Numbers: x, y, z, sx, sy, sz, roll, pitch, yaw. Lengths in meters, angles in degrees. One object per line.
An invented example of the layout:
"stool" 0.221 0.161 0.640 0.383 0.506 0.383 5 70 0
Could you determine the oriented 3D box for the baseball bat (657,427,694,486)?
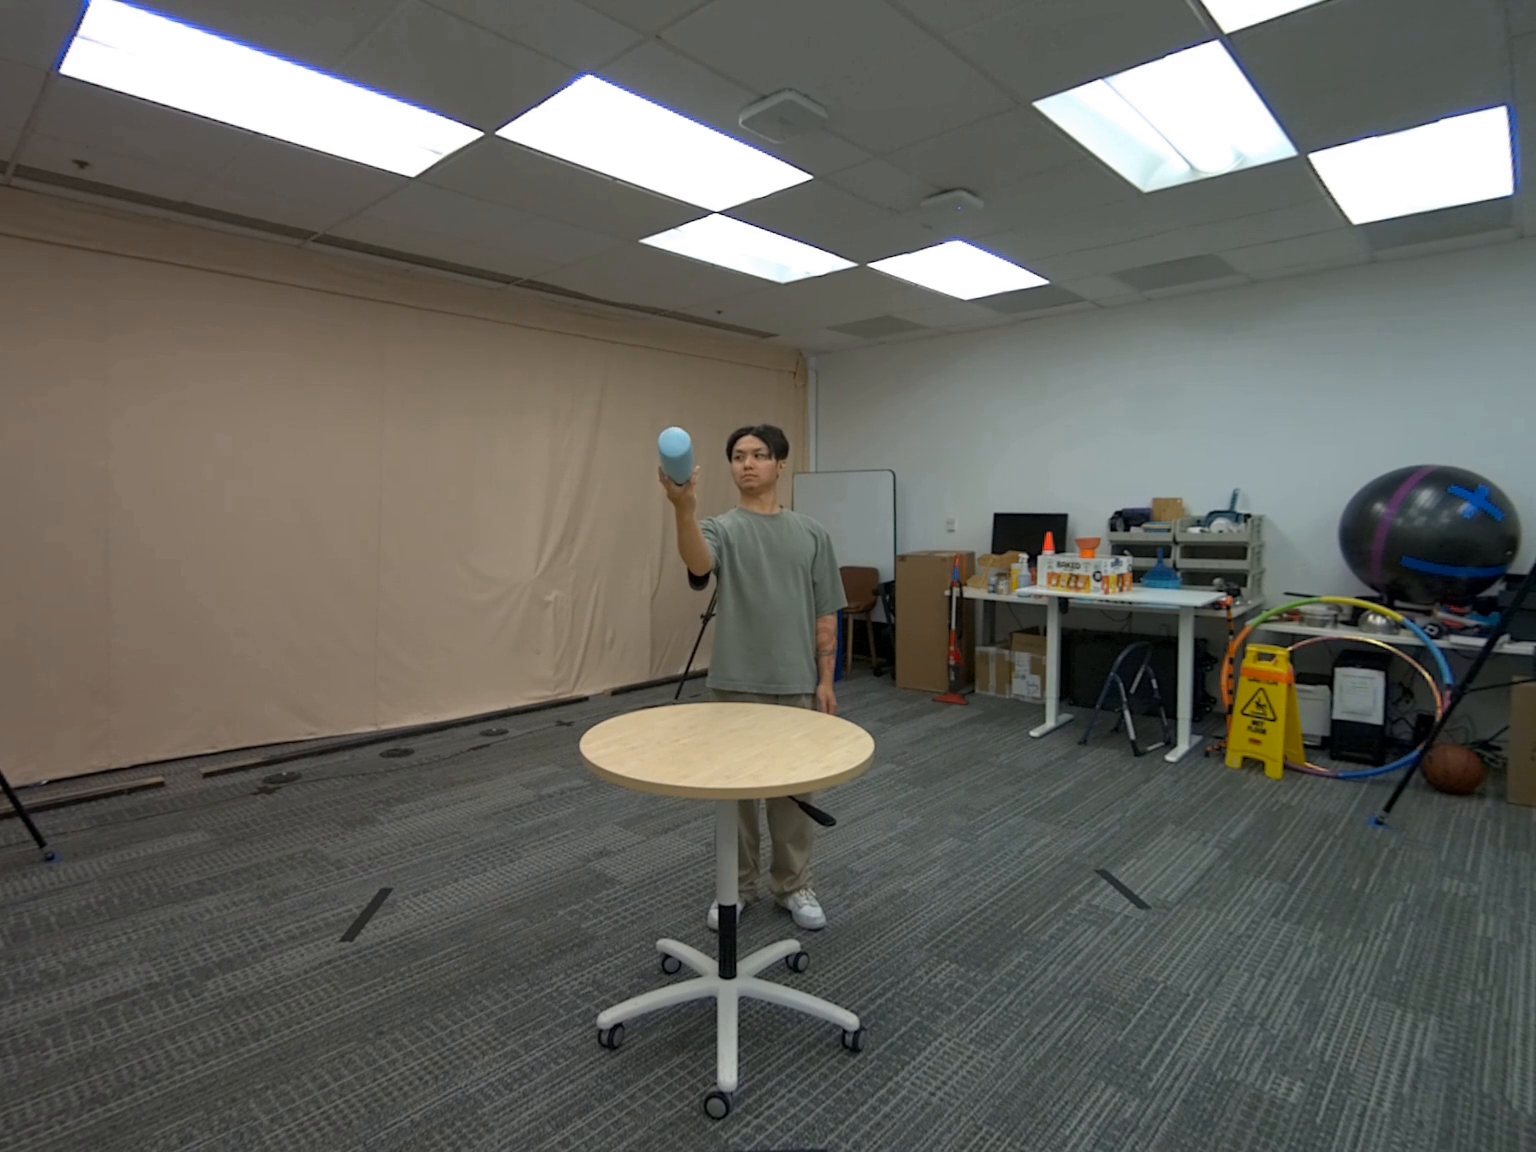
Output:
"baseball bat" -0.244 -0.276 2.321 0.089 0.090 0.539 0 -11 -3
